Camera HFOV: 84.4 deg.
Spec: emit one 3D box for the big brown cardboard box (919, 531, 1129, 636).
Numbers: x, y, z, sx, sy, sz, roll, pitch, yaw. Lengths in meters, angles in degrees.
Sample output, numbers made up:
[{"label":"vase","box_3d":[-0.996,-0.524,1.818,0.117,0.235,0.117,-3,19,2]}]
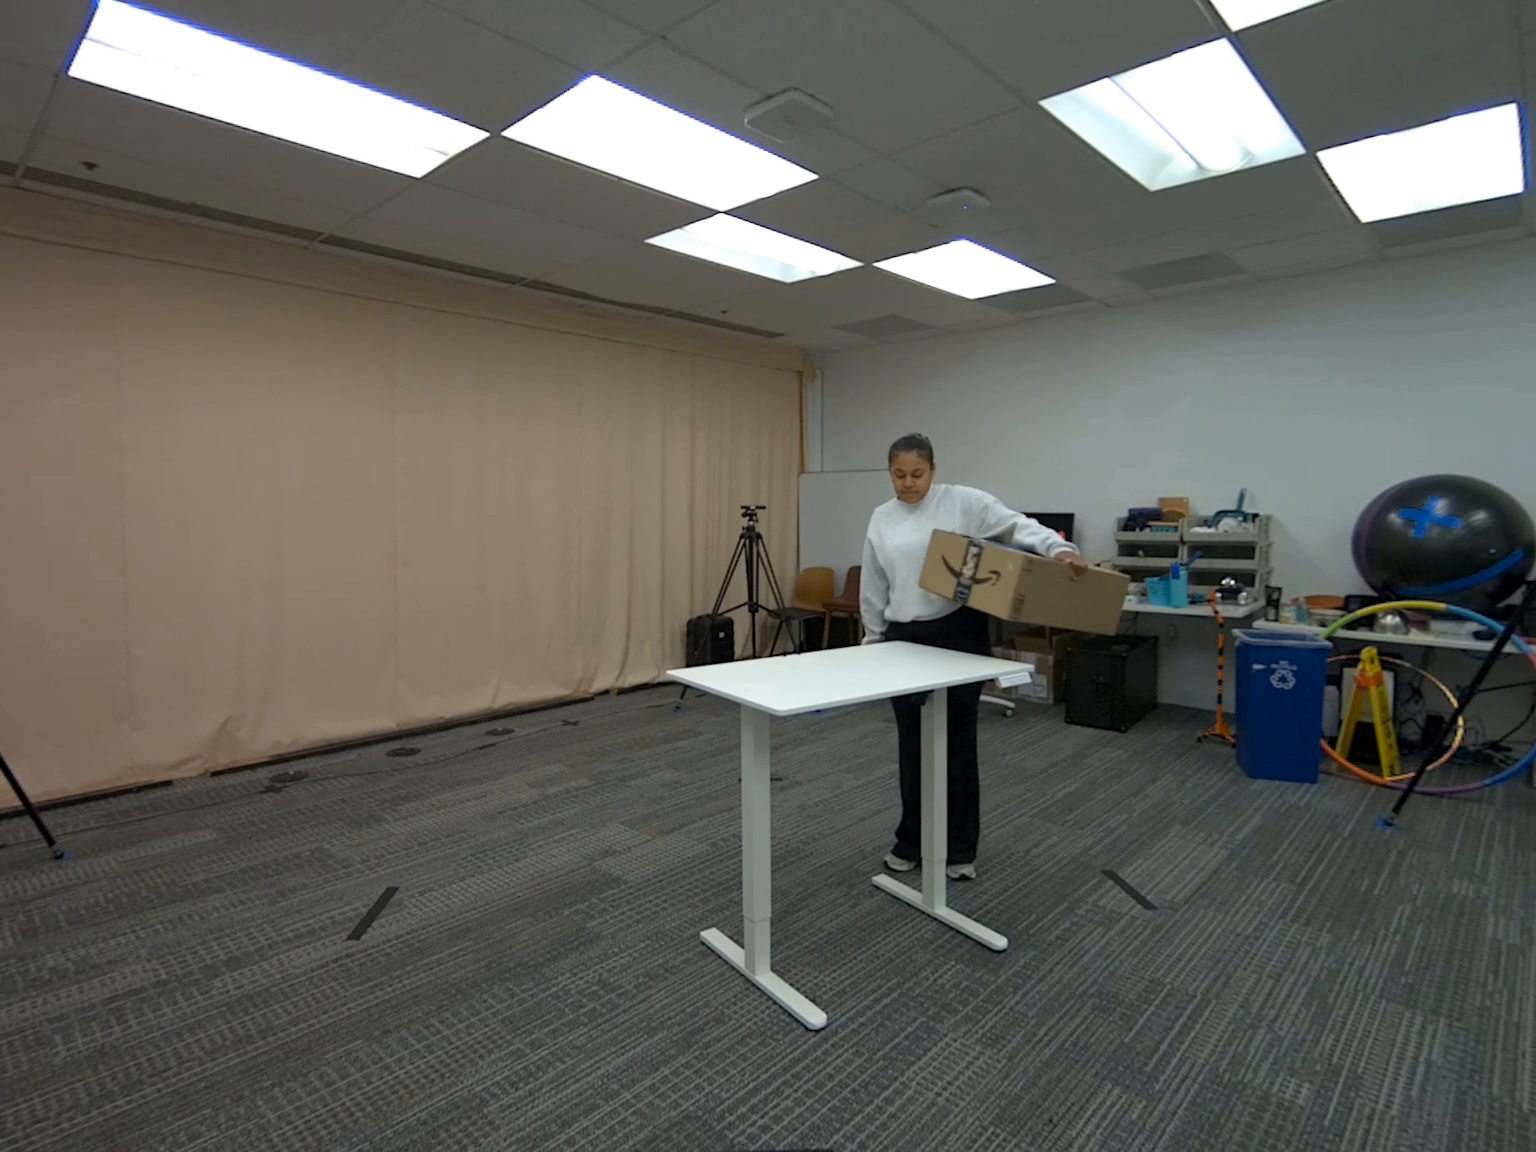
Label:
[{"label":"big brown cardboard box","box_3d":[0.892,0.027,2.938,0.571,0.232,0.432,10,8,-32]}]
